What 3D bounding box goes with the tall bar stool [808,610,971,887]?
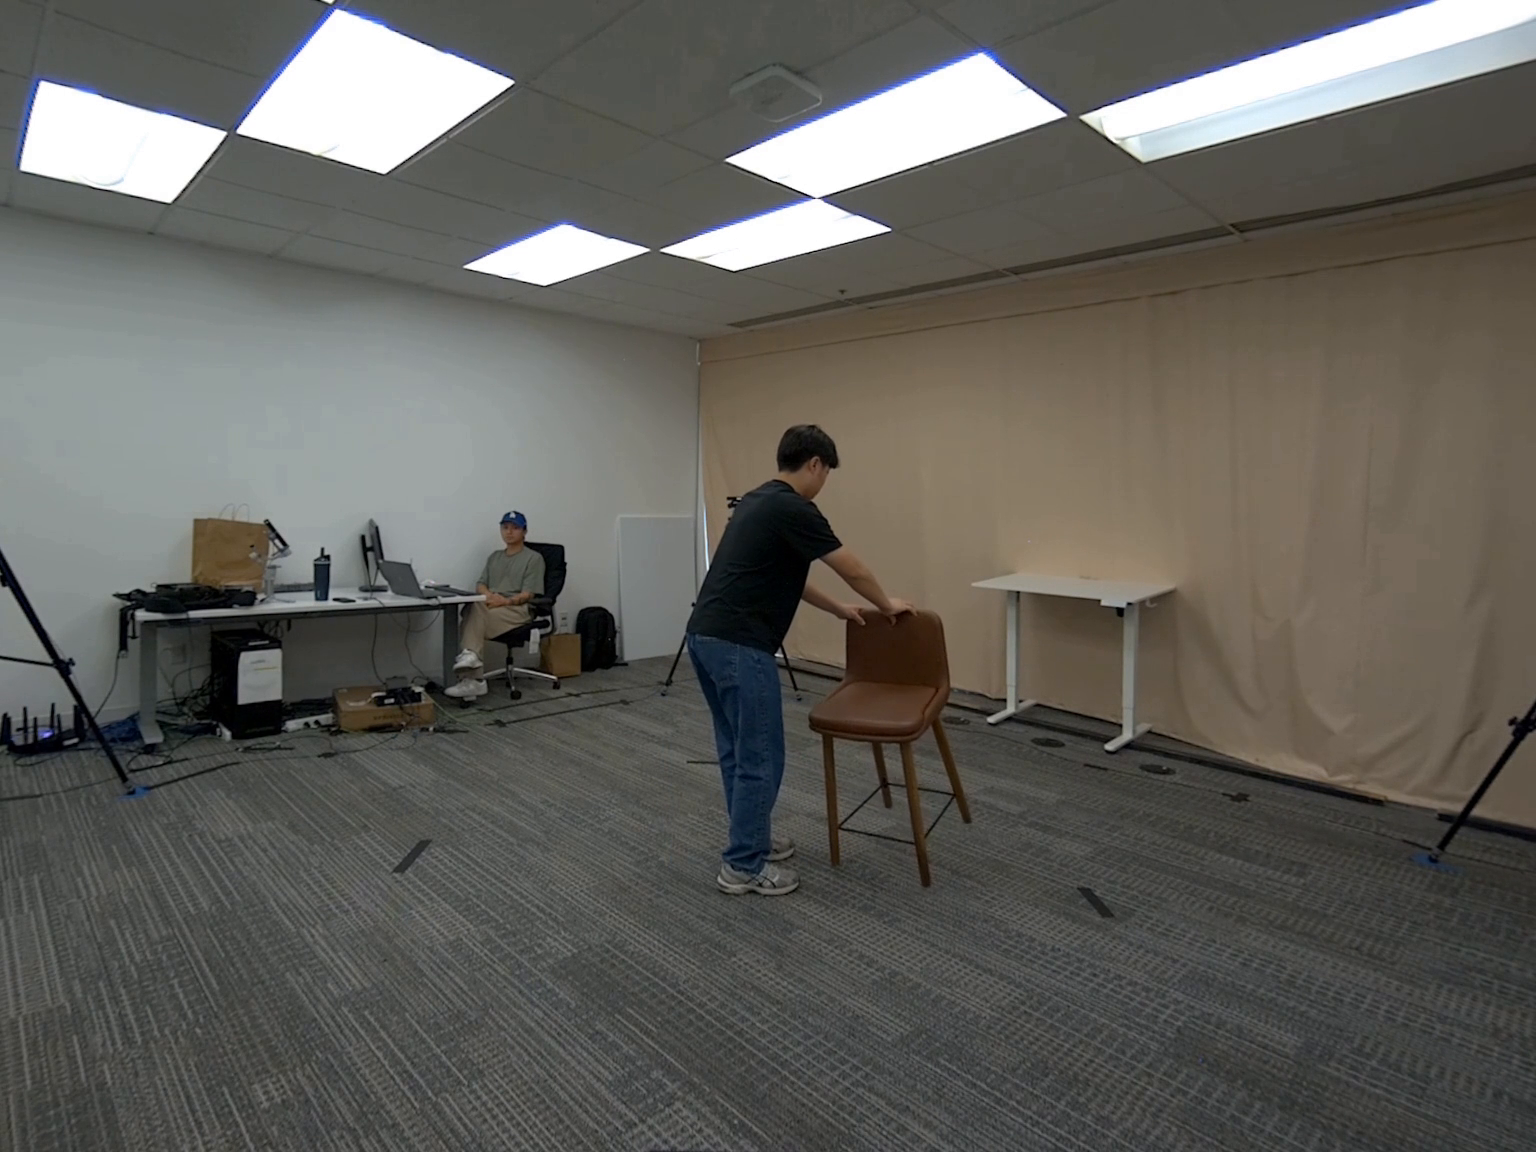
[{"bbox_3d":[0.449,0.621,3.187,0.467,0.881,0.461,-1,14,38],"label":"tall bar stool"}]
